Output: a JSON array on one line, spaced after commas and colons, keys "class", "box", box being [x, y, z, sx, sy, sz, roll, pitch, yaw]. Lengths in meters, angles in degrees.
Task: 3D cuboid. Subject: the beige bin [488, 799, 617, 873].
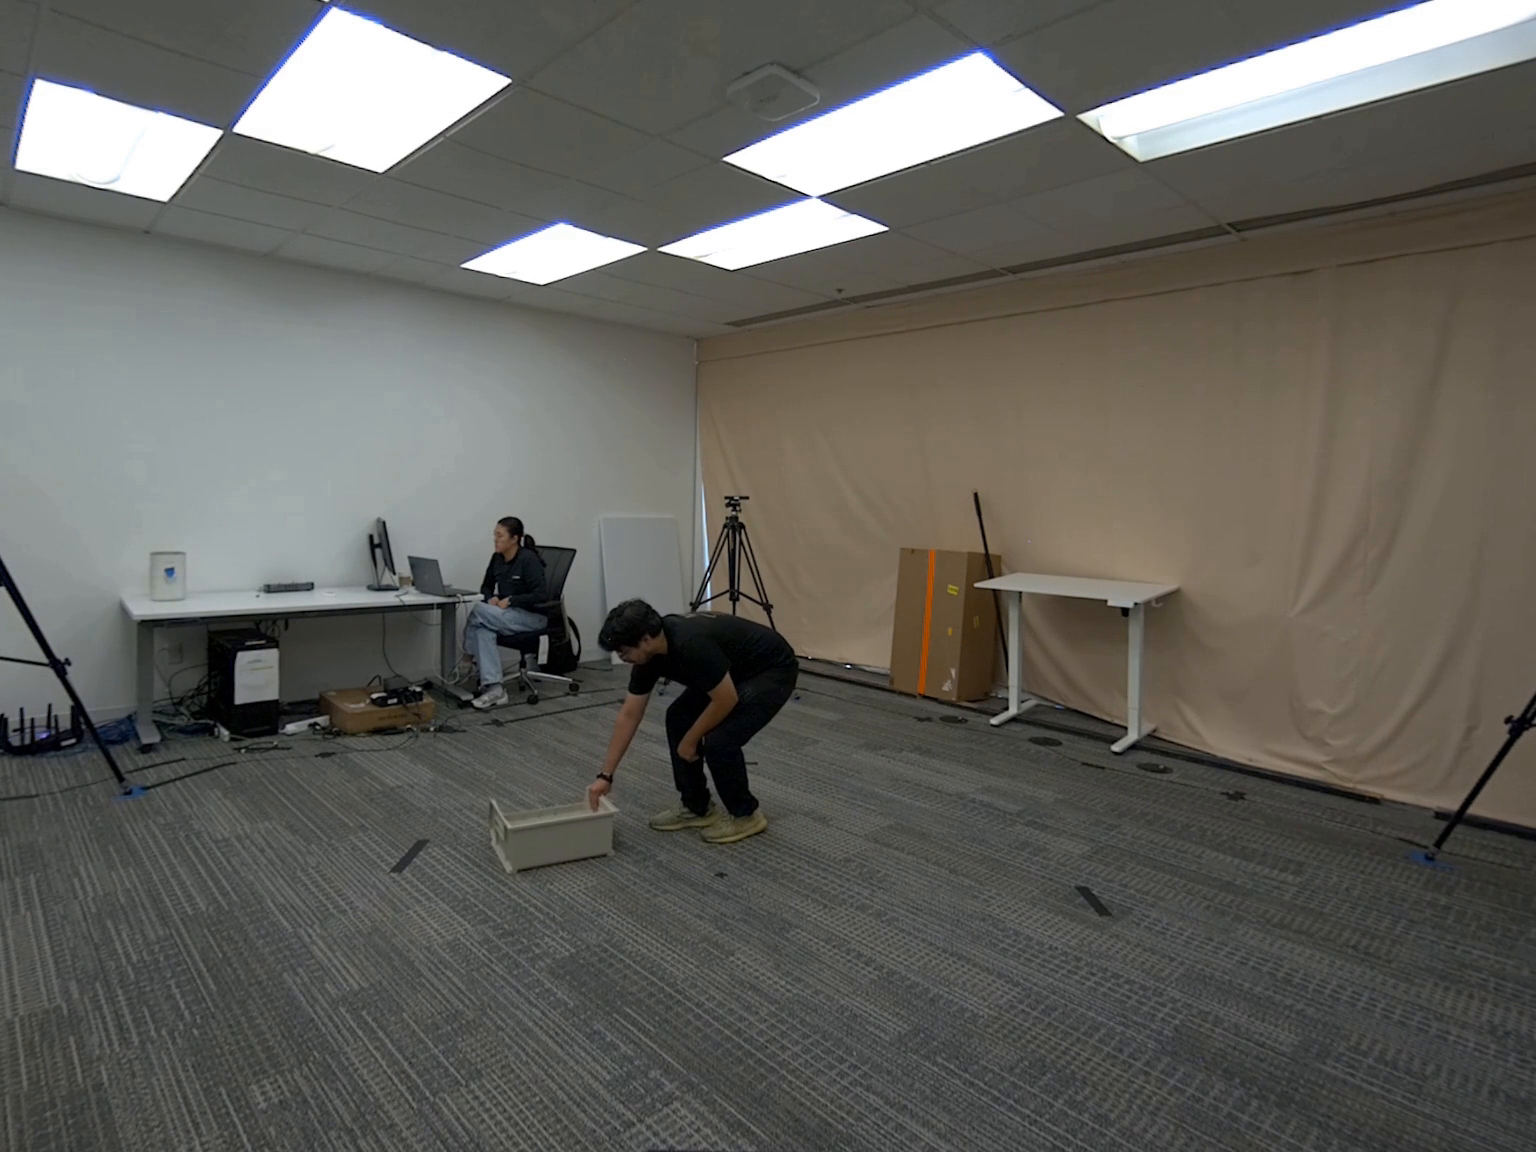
[{"class": "beige bin", "box": [-0.859, 0.980, 3.311, 0.414, 0.188, 0.386, -1, 7, -29]}]
